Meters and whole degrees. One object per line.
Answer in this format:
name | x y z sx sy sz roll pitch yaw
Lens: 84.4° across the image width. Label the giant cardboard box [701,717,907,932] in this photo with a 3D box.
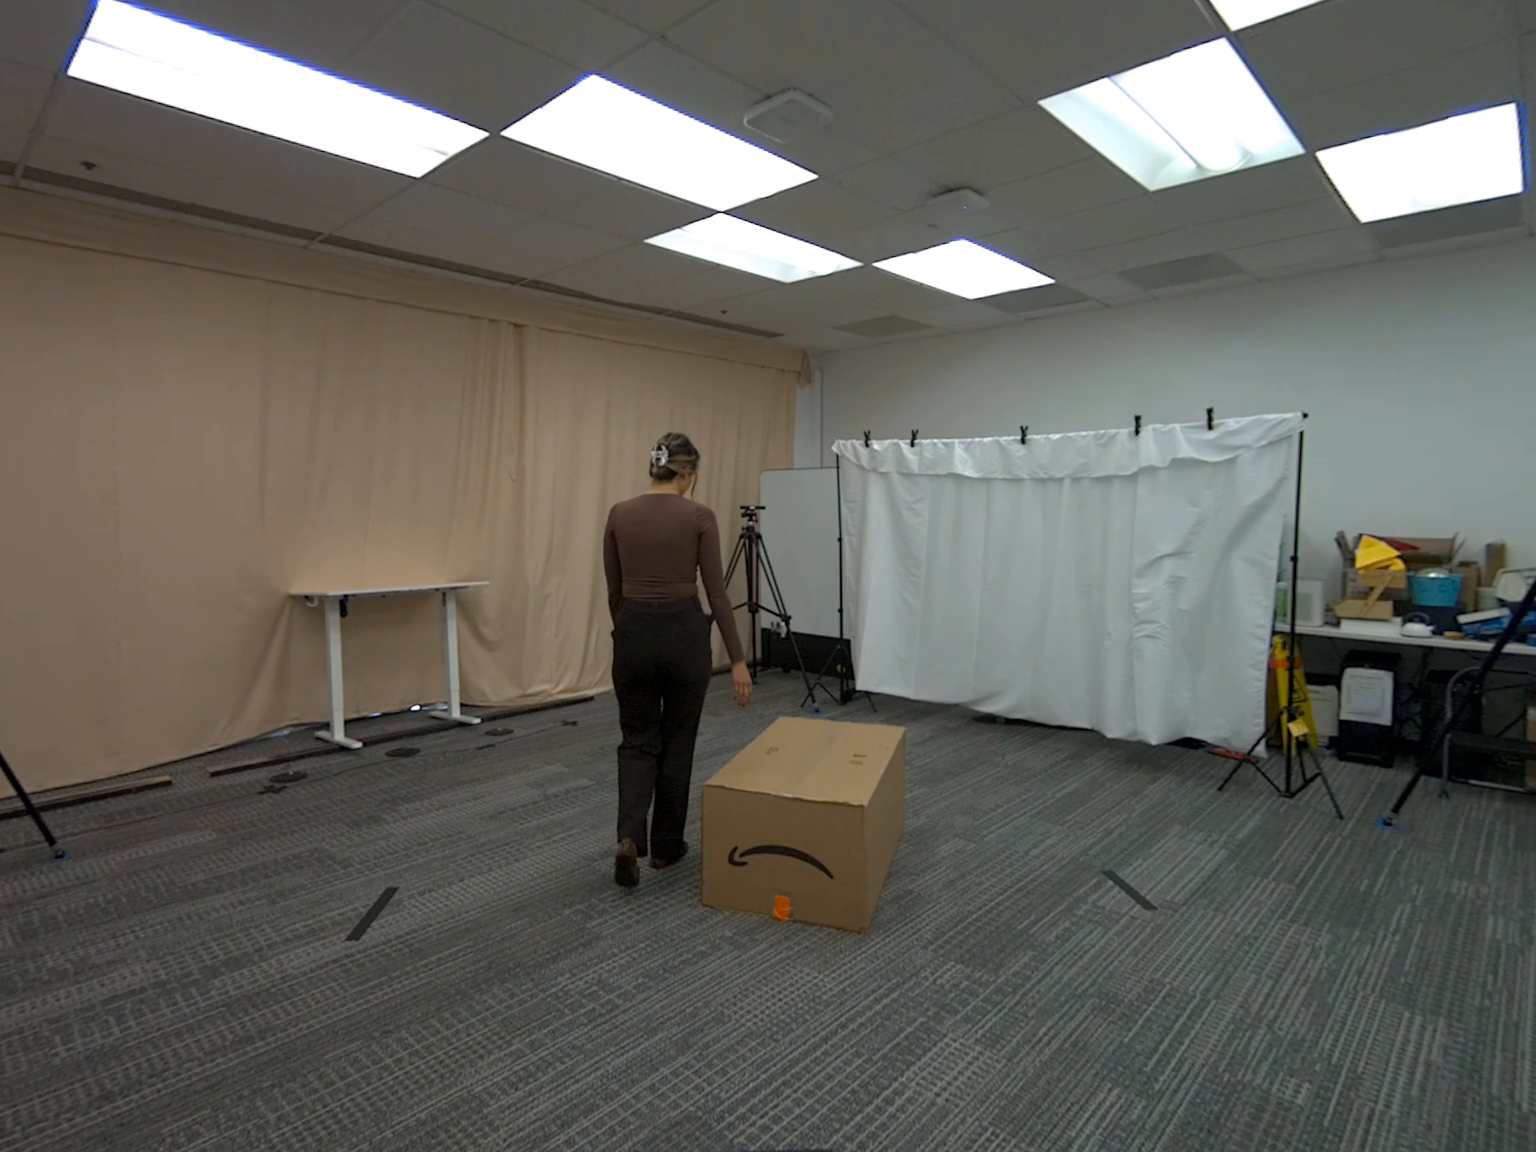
giant cardboard box | 0.190 0.906 3.302 0.595 0.446 1.009 0 4 18
